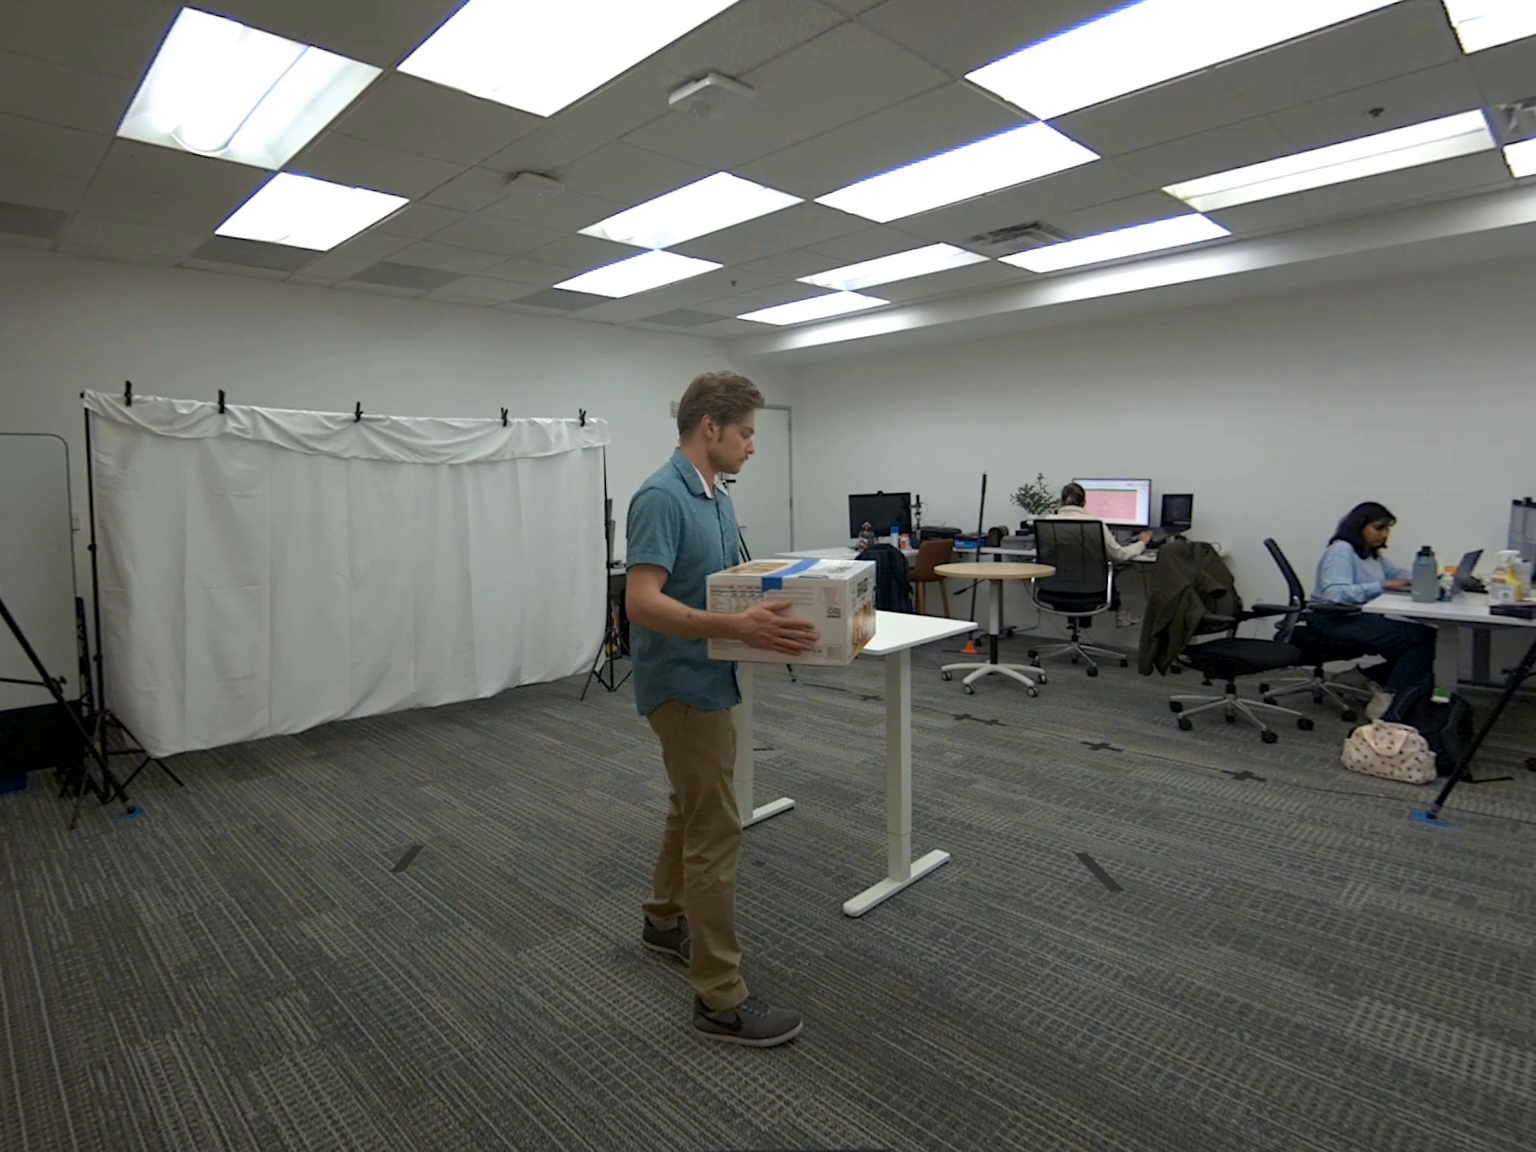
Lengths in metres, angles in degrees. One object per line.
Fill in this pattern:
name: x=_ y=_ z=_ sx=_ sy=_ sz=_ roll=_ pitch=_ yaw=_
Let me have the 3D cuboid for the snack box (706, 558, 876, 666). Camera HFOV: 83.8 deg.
snack box: x=0.074 y=0.079 z=2.162 sx=0.346 sy=0.205 sz=0.400 roll=1 pitch=6 yaw=18
